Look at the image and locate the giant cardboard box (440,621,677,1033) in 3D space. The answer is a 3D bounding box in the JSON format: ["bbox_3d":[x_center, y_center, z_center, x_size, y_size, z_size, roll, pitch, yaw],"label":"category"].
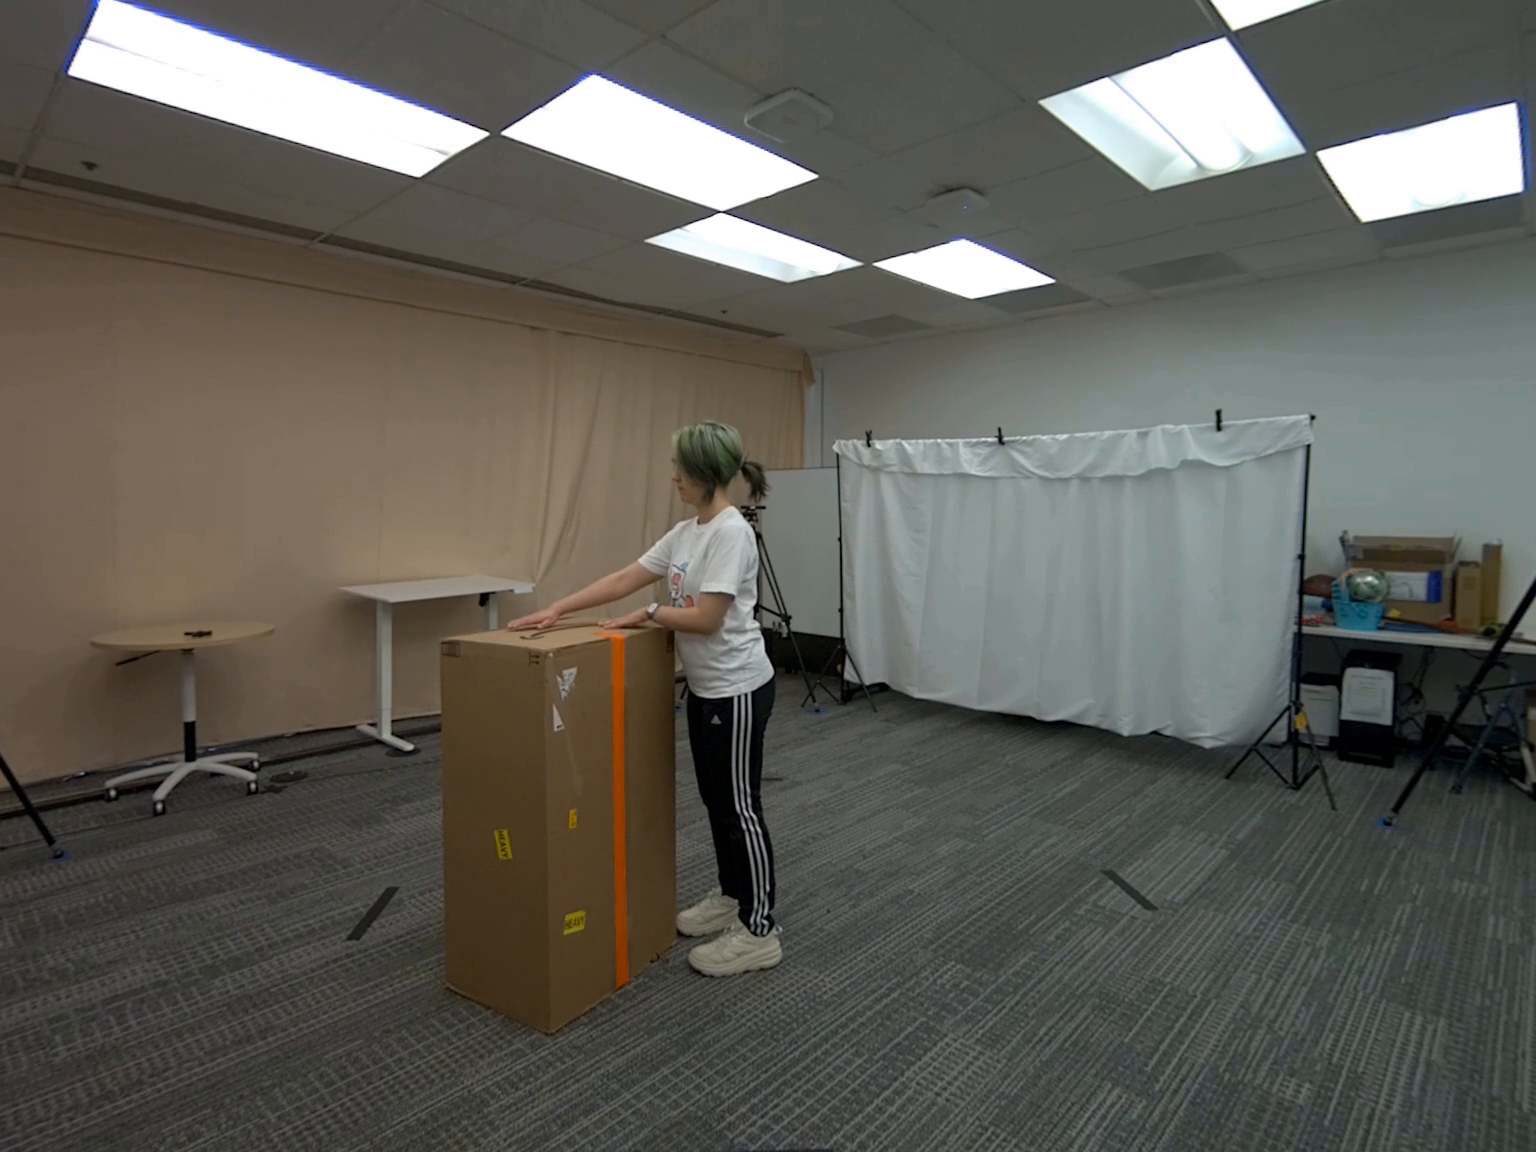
[{"bbox_3d":[-0.616,0.684,2.537,0.460,1.025,0.568,1,3,30],"label":"giant cardboard box"}]
